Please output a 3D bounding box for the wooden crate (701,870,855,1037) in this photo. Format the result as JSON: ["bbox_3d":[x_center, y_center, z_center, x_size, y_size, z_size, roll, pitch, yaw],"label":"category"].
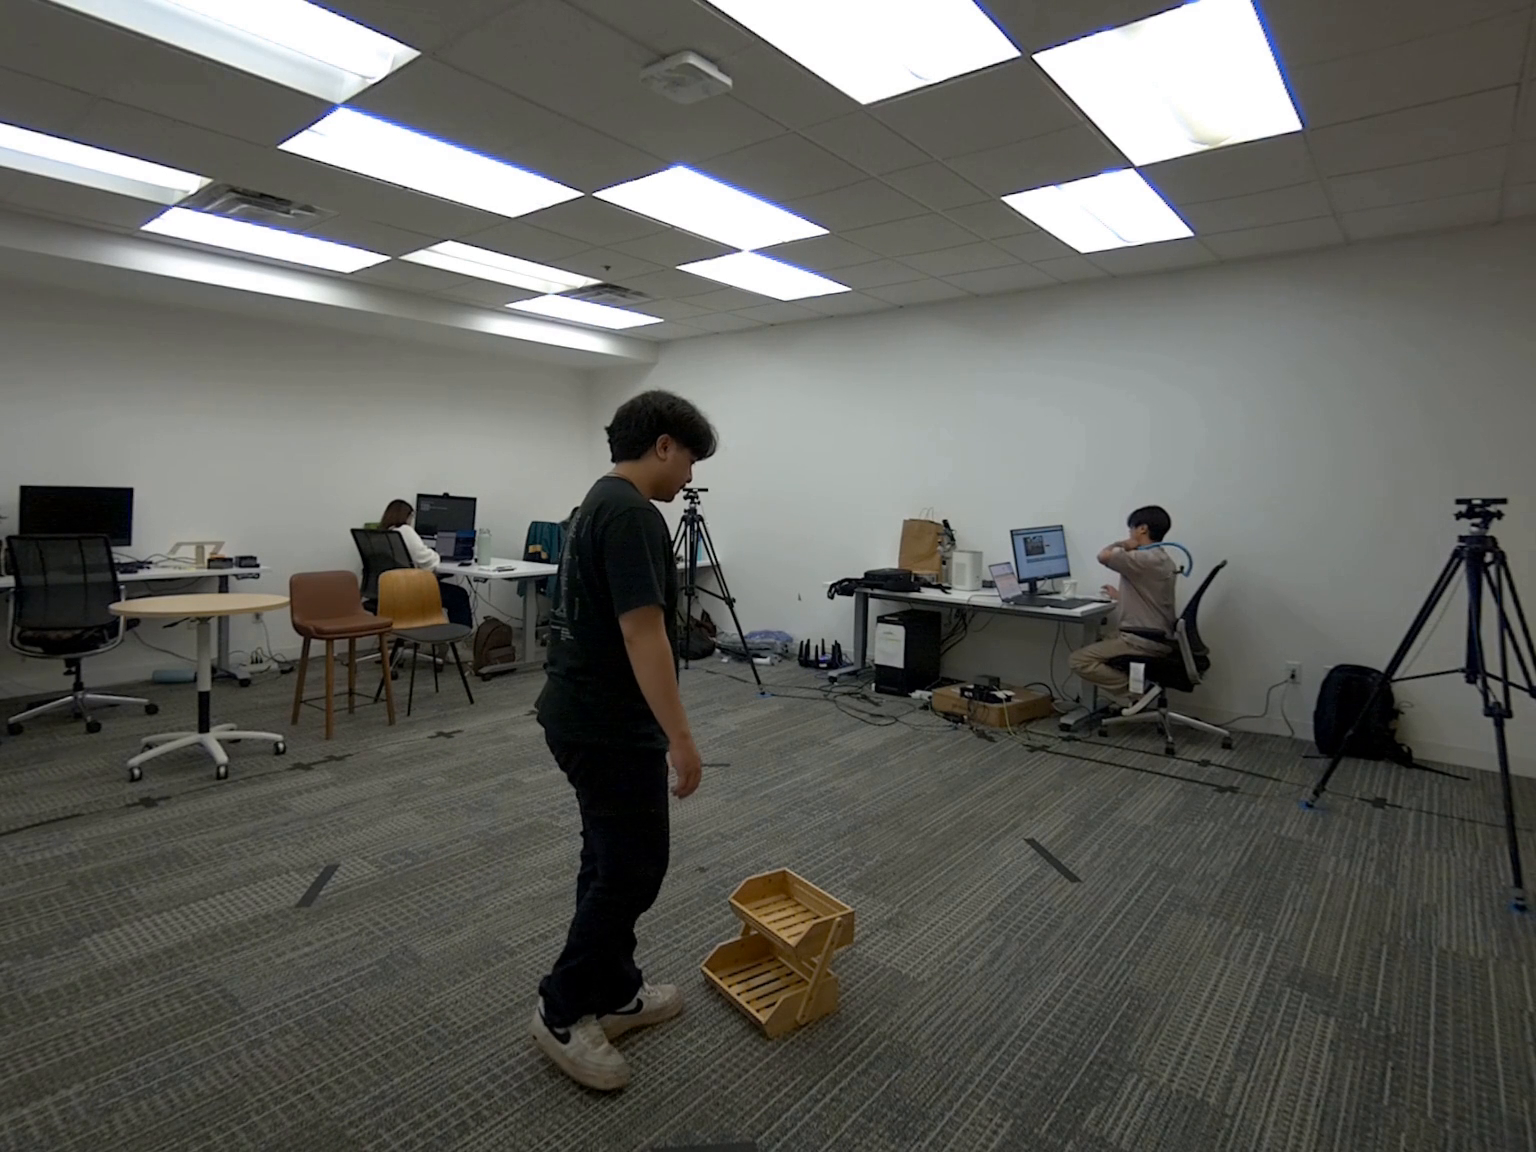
[{"bbox_3d":[0.016,1.020,2.343,0.293,0.272,0.335,-1,5,-37],"label":"wooden crate"}]
